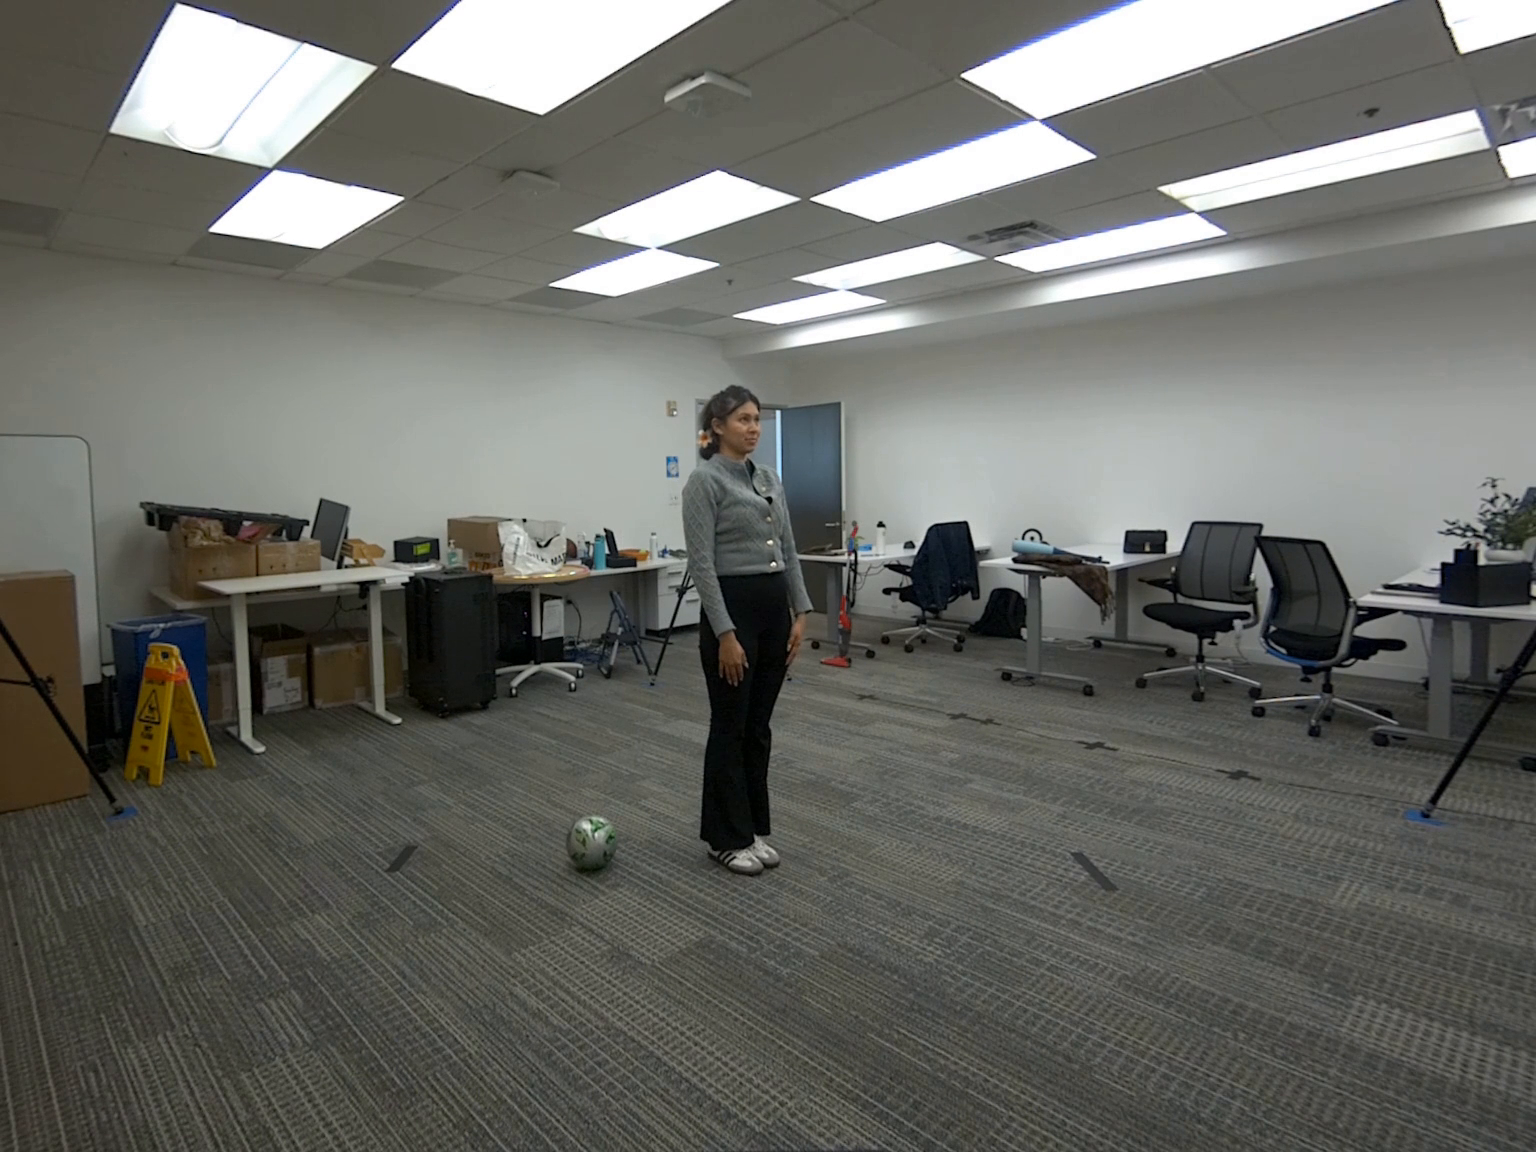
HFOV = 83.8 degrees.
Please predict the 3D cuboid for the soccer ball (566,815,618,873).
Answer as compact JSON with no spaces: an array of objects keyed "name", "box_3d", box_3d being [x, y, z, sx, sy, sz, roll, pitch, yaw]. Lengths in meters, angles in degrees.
[{"name":"soccer ball","box_3d":[-0.633,0.963,3.098,0.187,0.187,0.188,-1,5,-2]}]
